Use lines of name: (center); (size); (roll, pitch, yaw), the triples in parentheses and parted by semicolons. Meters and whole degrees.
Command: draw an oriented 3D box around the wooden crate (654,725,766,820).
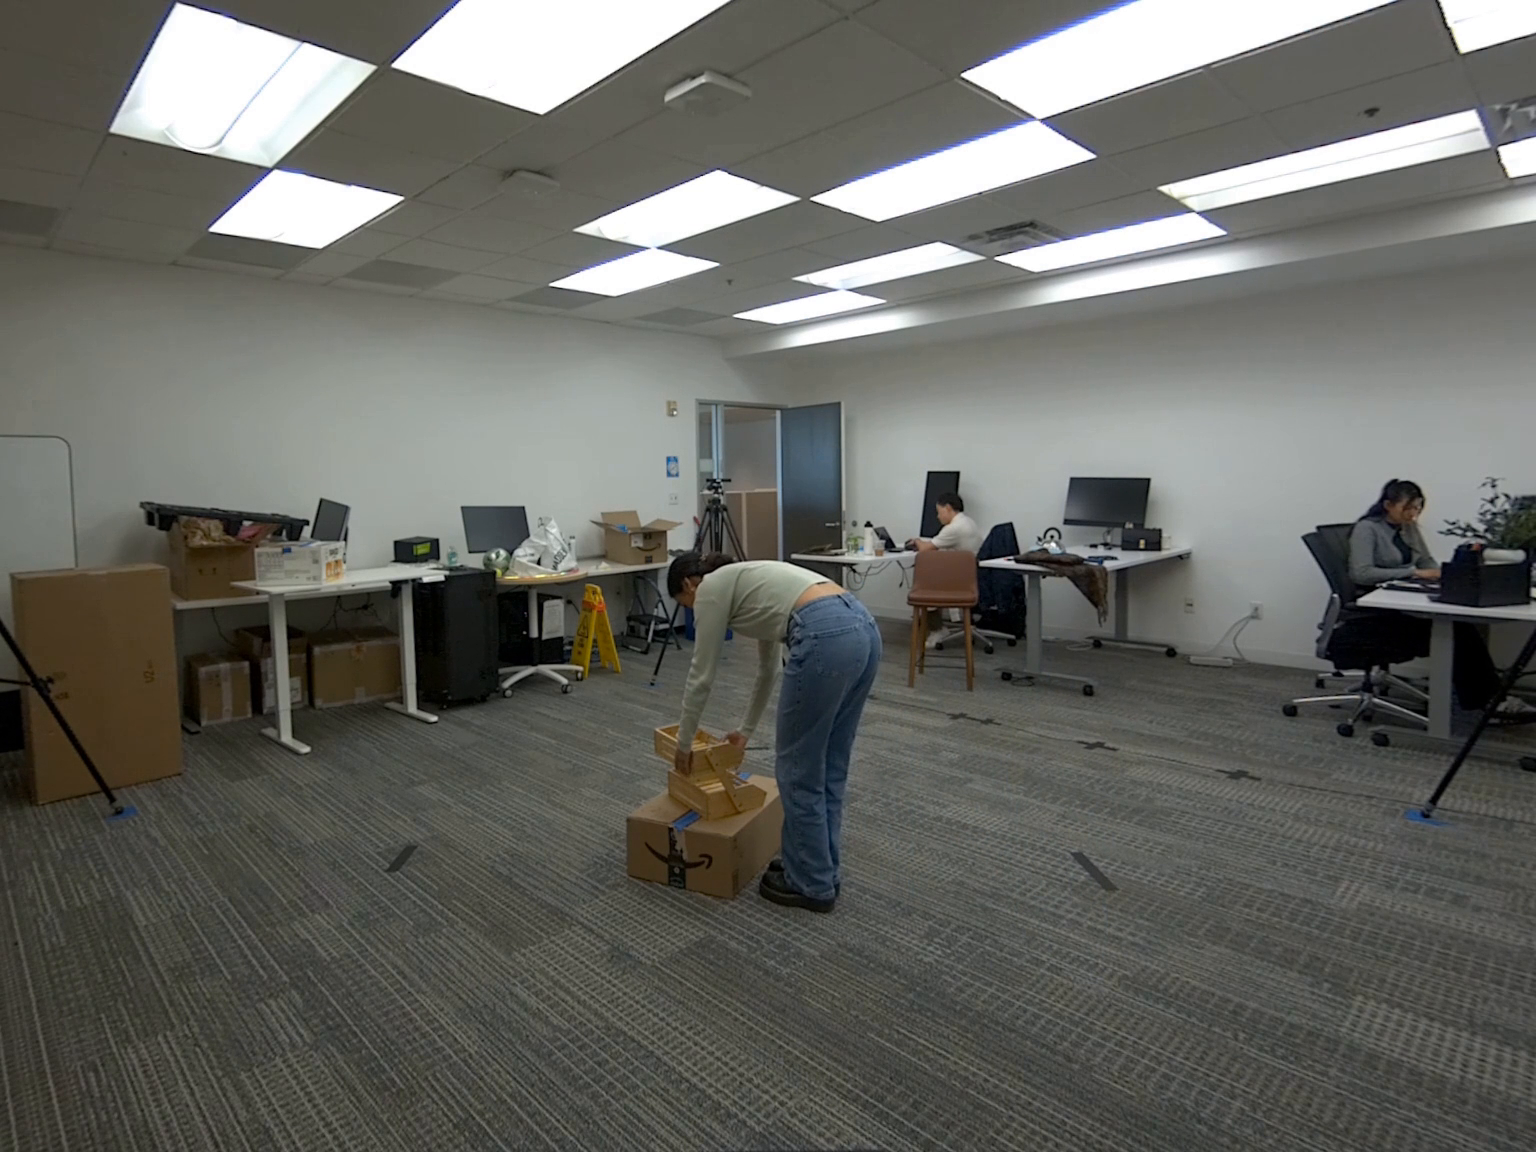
wooden crate: (-0.211, 0.693, 3.140); (0.295, 0.272, 0.334); (-5, 7, -32)
